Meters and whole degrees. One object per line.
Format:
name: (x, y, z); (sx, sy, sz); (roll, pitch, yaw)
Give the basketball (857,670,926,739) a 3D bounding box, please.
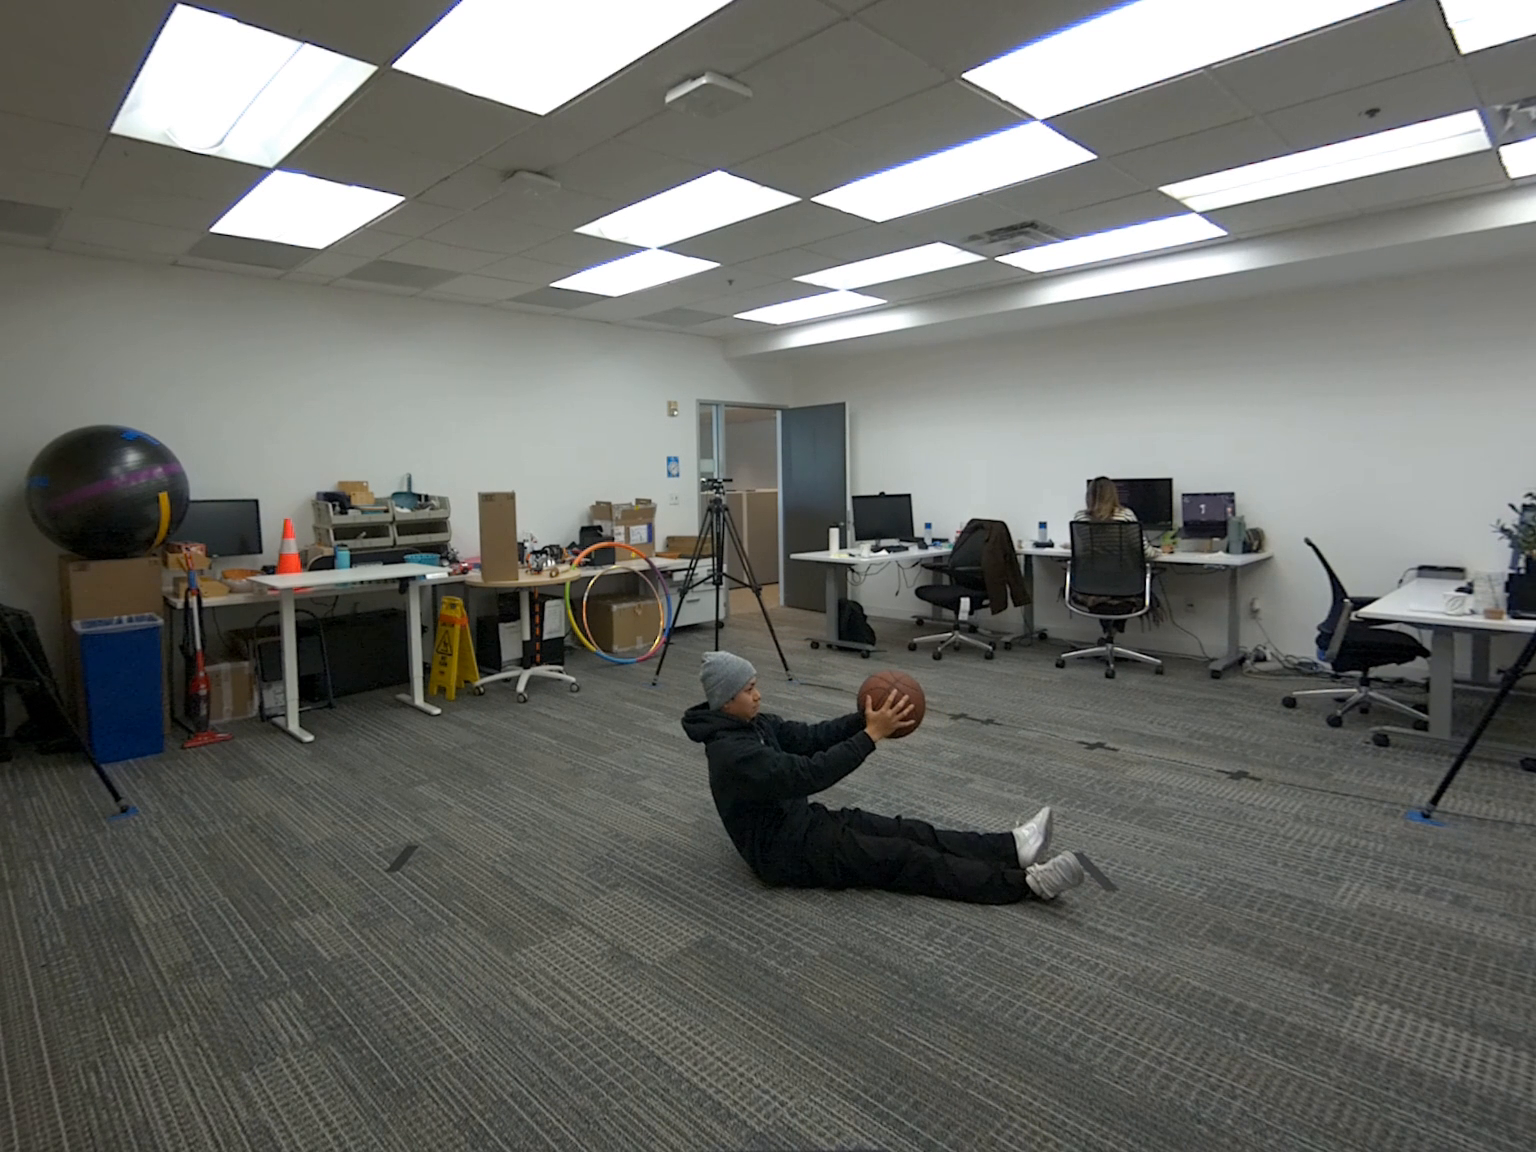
basketball: (0.433, 0.452, 2.998); (0.236, 0.235, 0.237); (-1, 5, -2)
